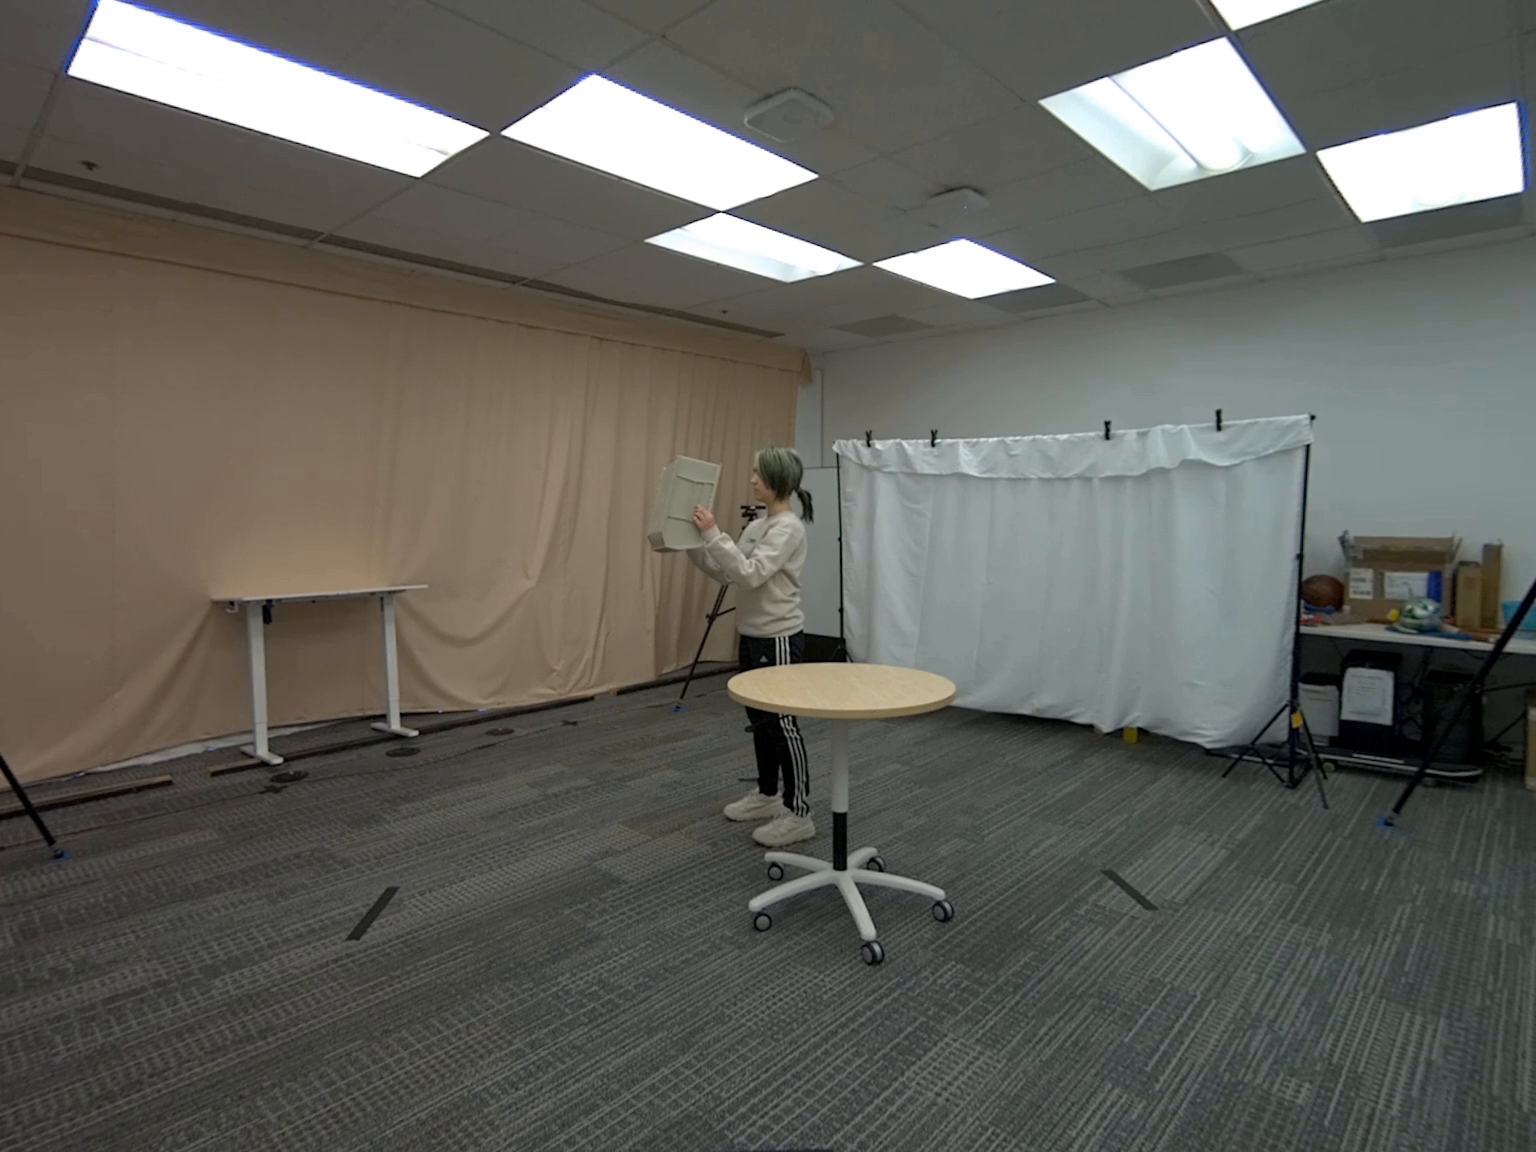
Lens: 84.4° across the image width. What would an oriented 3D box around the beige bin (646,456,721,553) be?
[{"bbox_3d":[-0.358,-0.283,3.524,0.186,0.378,0.428,13,-5,-14],"label":"beige bin"}]
